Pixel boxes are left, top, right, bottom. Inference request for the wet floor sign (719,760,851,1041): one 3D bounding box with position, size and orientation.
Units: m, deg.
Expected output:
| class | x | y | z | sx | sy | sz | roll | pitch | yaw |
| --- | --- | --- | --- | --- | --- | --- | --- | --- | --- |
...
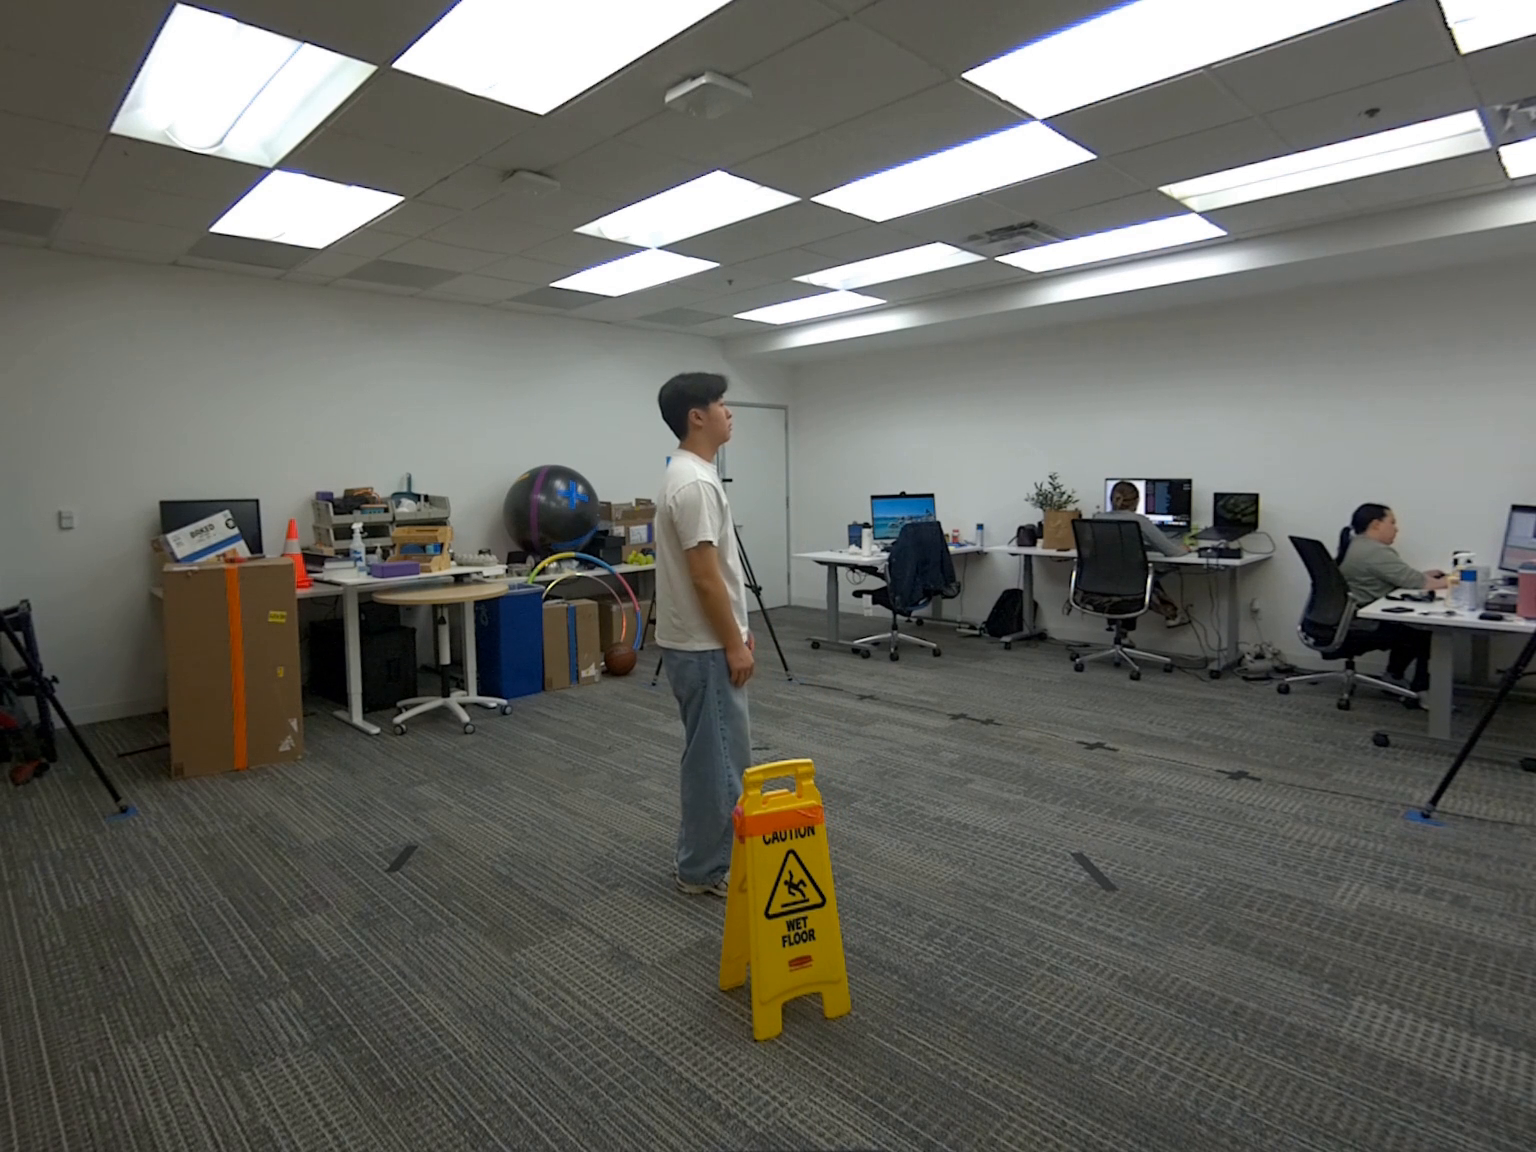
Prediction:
| class | x | y | z | sx | sy | sz | roll | pitch | yaw |
| --- | --- | --- | --- | --- | --- | --- | --- | --- | --- |
| wet floor sign | 0.043 | 0.815 | 2.264 | 0.277 | 0.643 | 0.297 | -3 | 5 | -23 |
